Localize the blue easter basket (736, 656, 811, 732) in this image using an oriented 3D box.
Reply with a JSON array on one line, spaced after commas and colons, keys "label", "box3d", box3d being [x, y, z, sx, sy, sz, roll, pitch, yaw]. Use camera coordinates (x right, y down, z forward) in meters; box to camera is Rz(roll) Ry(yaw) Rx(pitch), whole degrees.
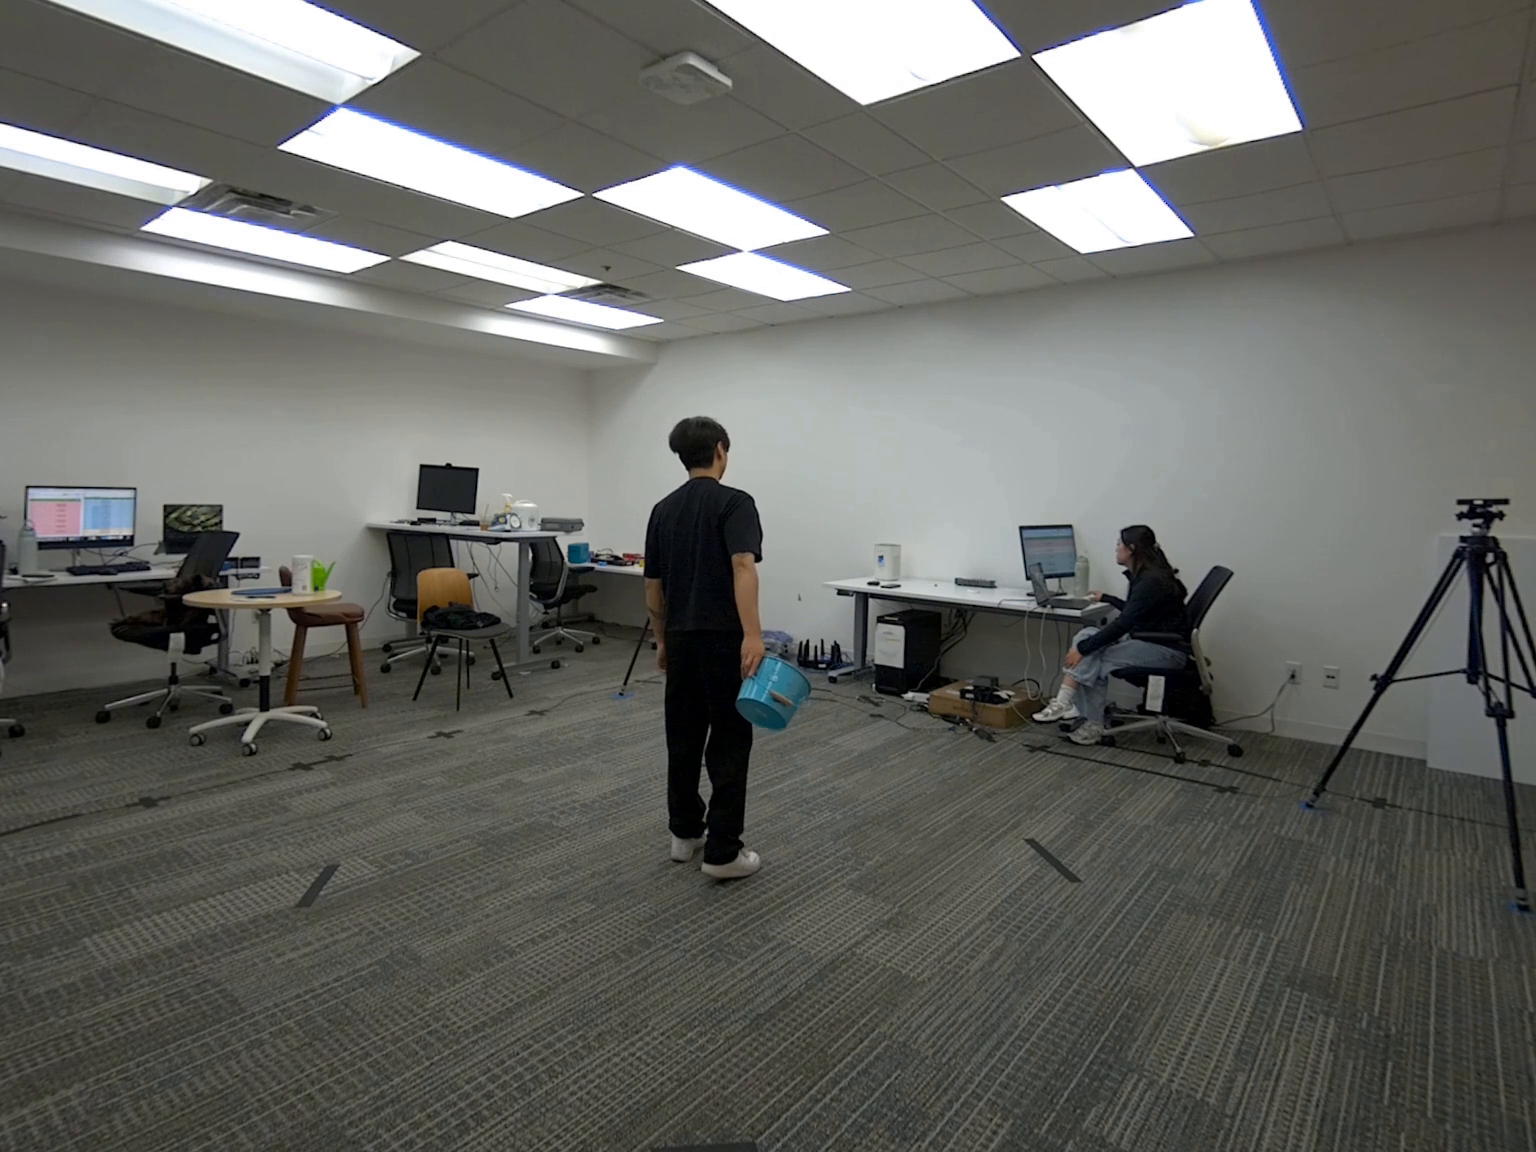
[{"label": "blue easter basket", "box3d": [-0.001, 0.387, 2.794, 0.251, 0.234, 0.157, 4, 48, 36]}]
